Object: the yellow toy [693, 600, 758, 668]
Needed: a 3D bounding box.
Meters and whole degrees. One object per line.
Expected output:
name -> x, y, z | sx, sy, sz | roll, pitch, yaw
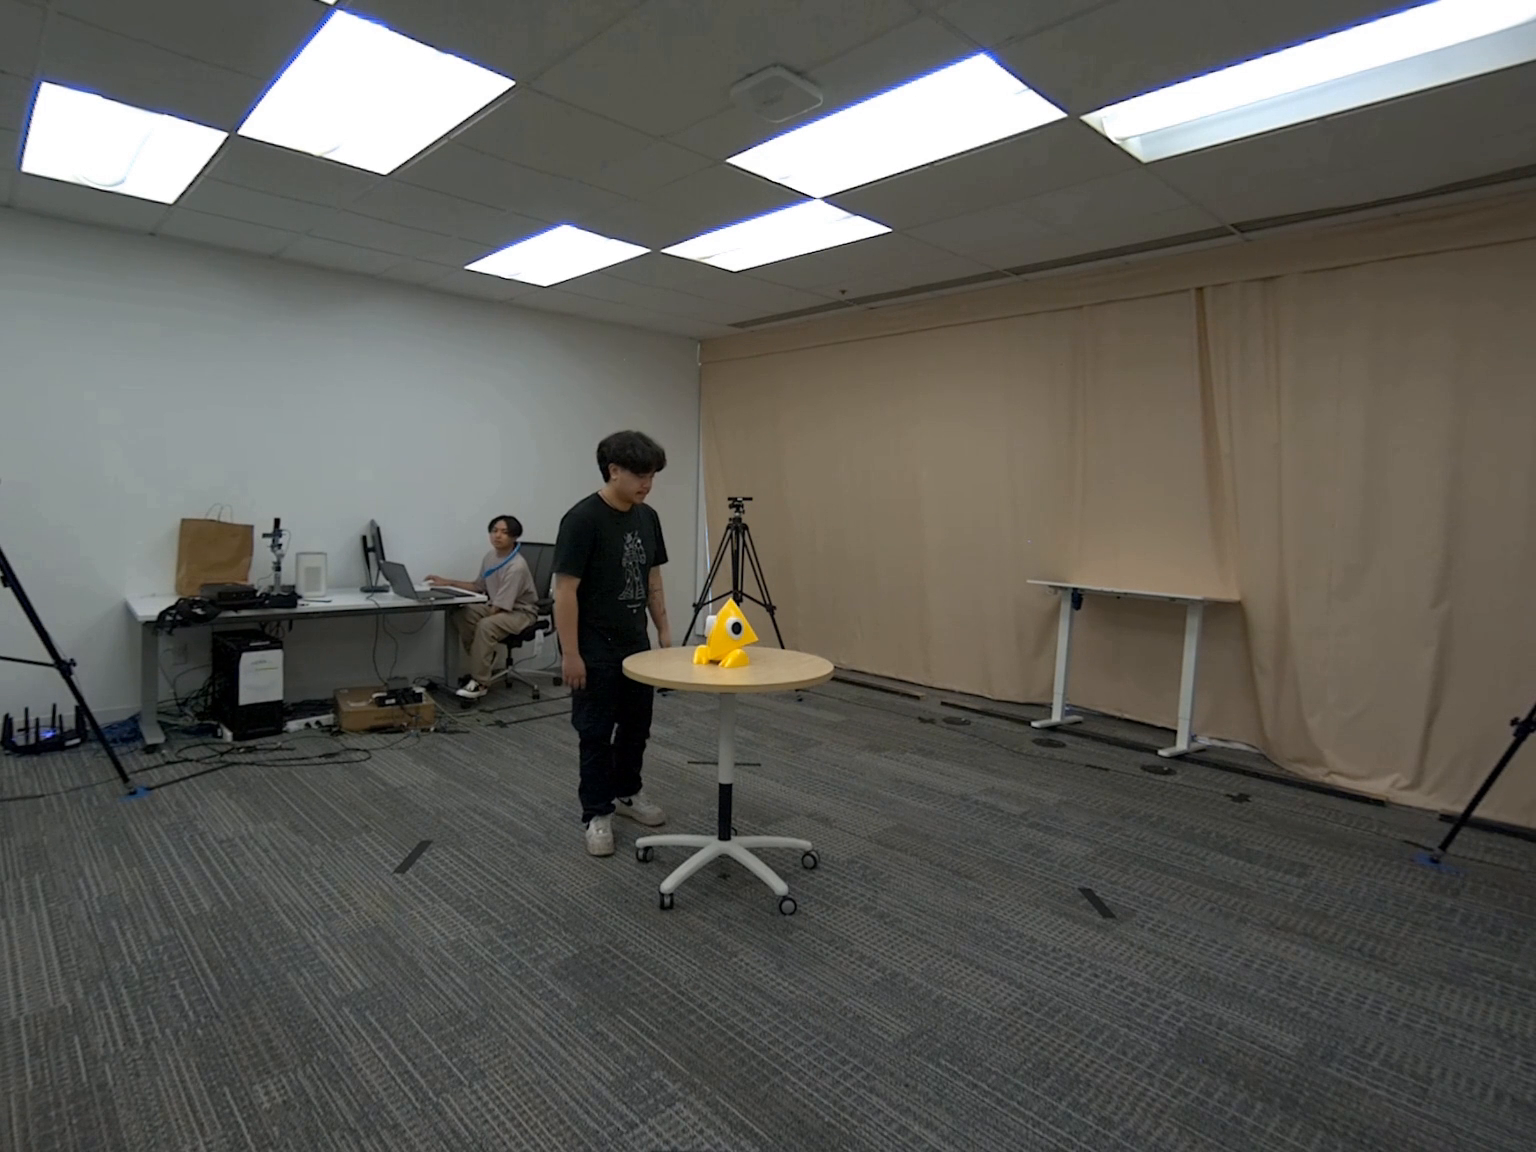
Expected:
yellow toy -> -0.172, 0.204, 3.072 | 0.209, 0.230, 0.189 | 3, 4, 28
